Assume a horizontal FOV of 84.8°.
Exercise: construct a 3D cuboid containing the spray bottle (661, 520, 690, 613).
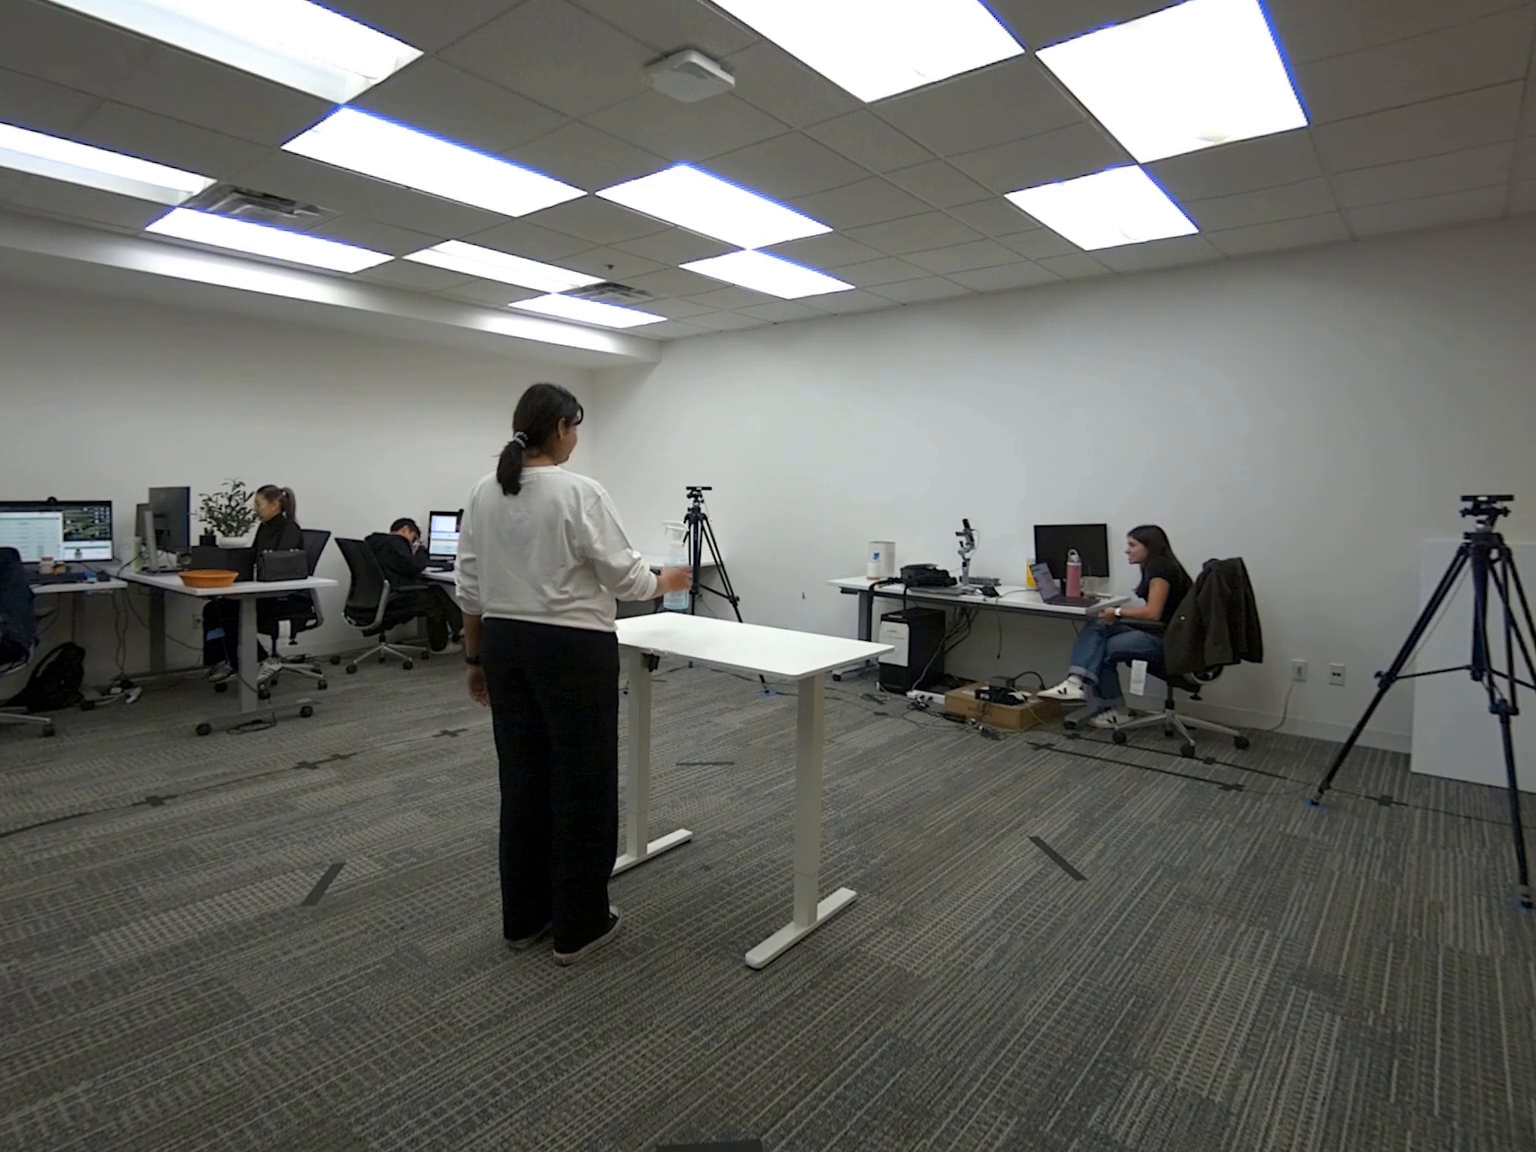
[{"bbox_3d":[-0.317,-0.035,2.901,0.093,0.296,0.085,4,6,29],"label":"spray bottle"}]
